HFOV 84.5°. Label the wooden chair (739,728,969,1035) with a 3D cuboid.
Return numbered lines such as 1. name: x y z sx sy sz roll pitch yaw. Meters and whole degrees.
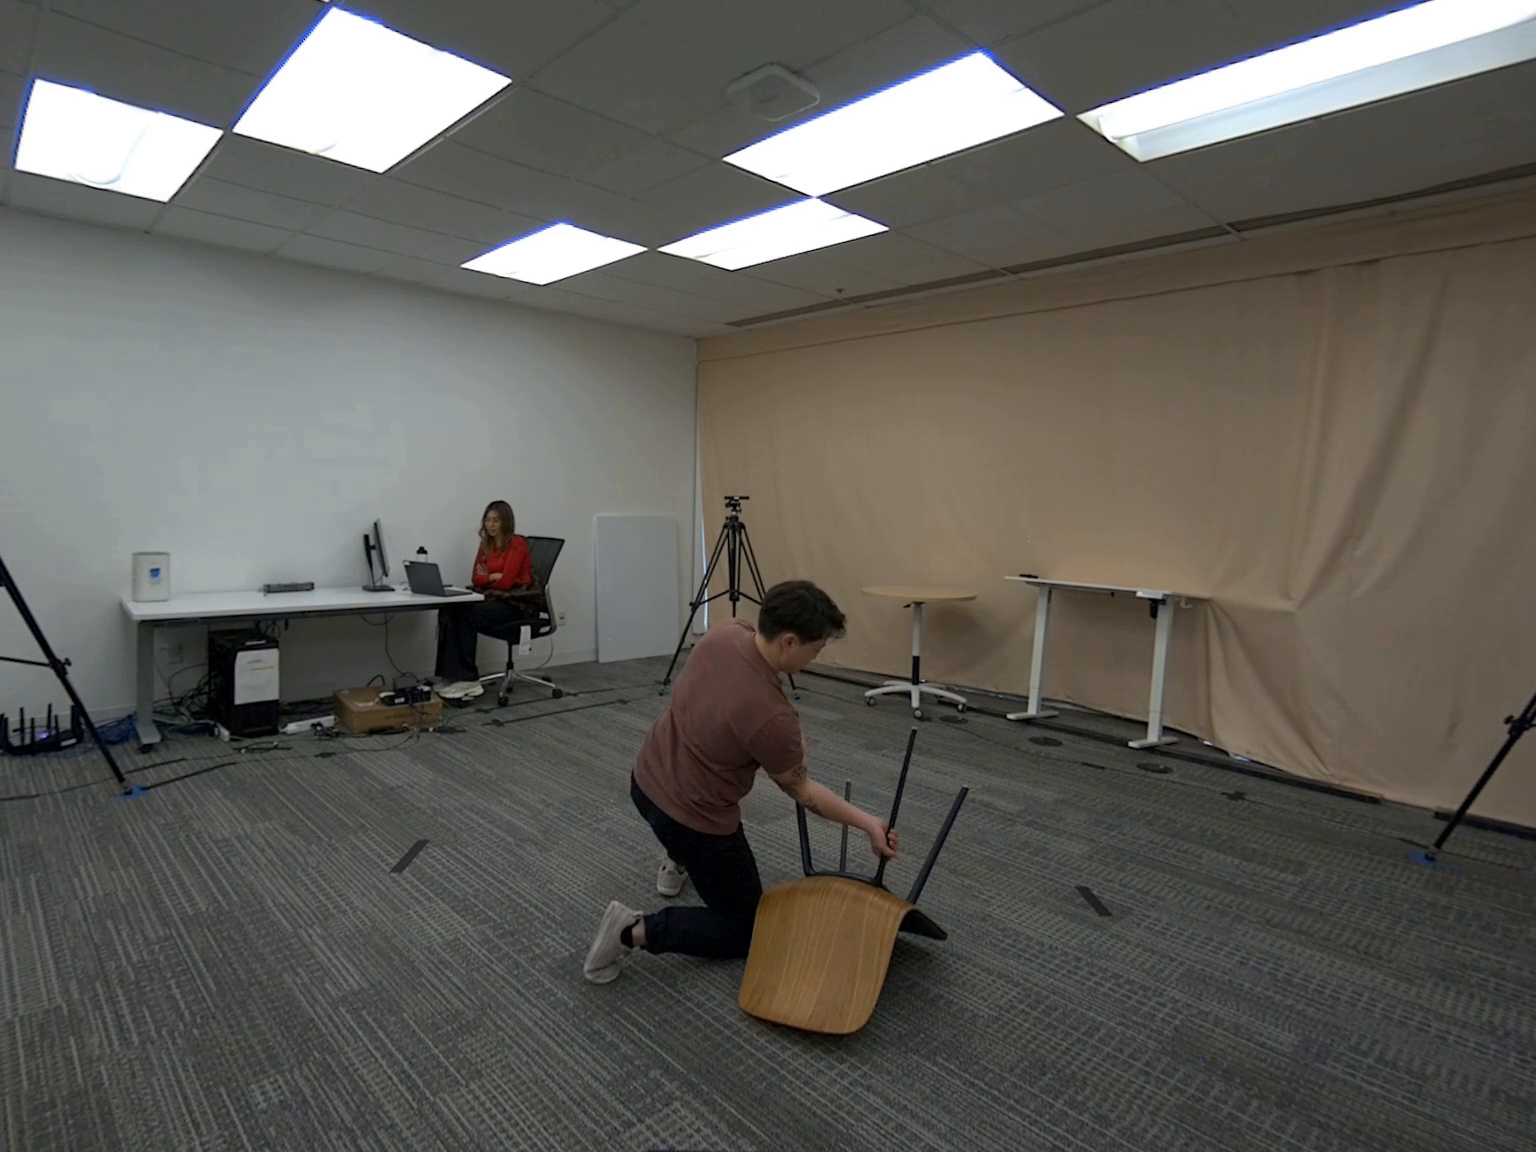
1. wooden chair: 0.275 0.966 2.555 0.487 0.888 0.507 -7 -42 33
